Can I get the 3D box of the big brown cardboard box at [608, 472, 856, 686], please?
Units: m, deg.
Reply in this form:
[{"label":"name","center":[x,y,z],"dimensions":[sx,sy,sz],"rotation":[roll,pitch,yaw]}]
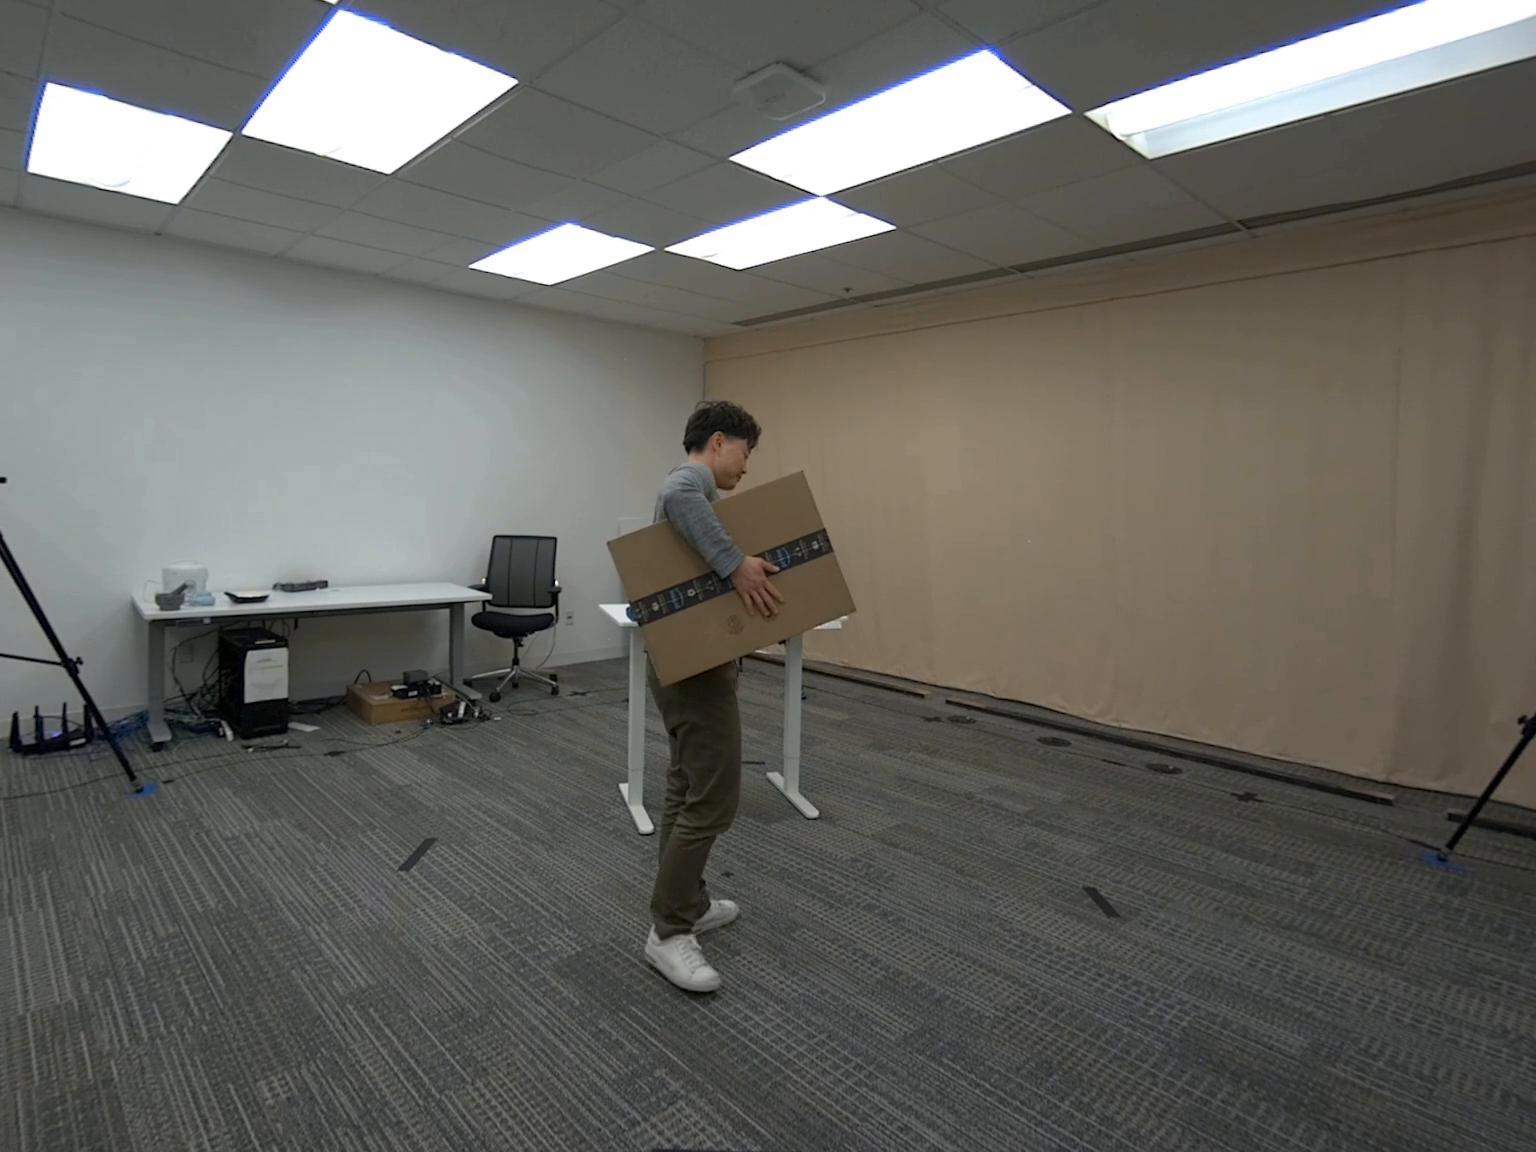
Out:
[{"label":"big brown cardboard box","center":[-0.120,0.014,2.348],"dimensions":[0.587,0.417,0.234],"rotation":[-19,2,-7]}]
